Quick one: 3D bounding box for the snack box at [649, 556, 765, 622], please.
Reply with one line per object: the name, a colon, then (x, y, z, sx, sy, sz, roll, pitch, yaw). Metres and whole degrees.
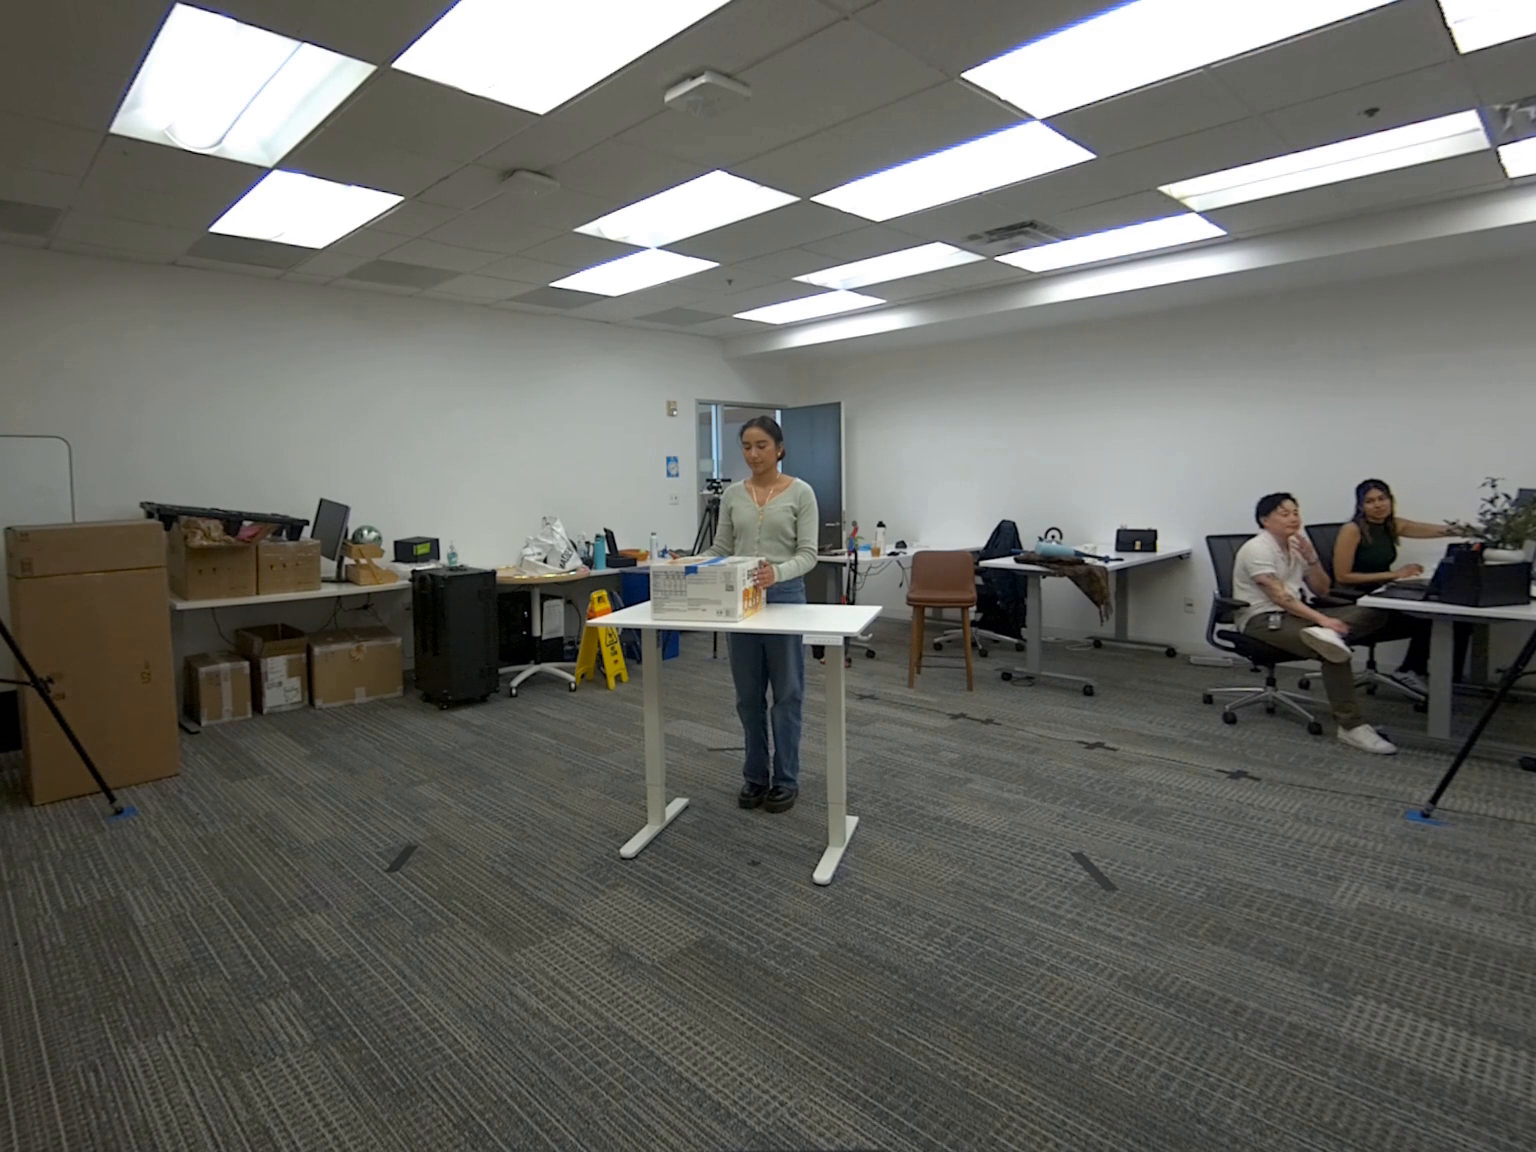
snack box: (-0.220, 0.044, 3.282, 0.346, 0.205, 0.400, 0, 5, 16)
